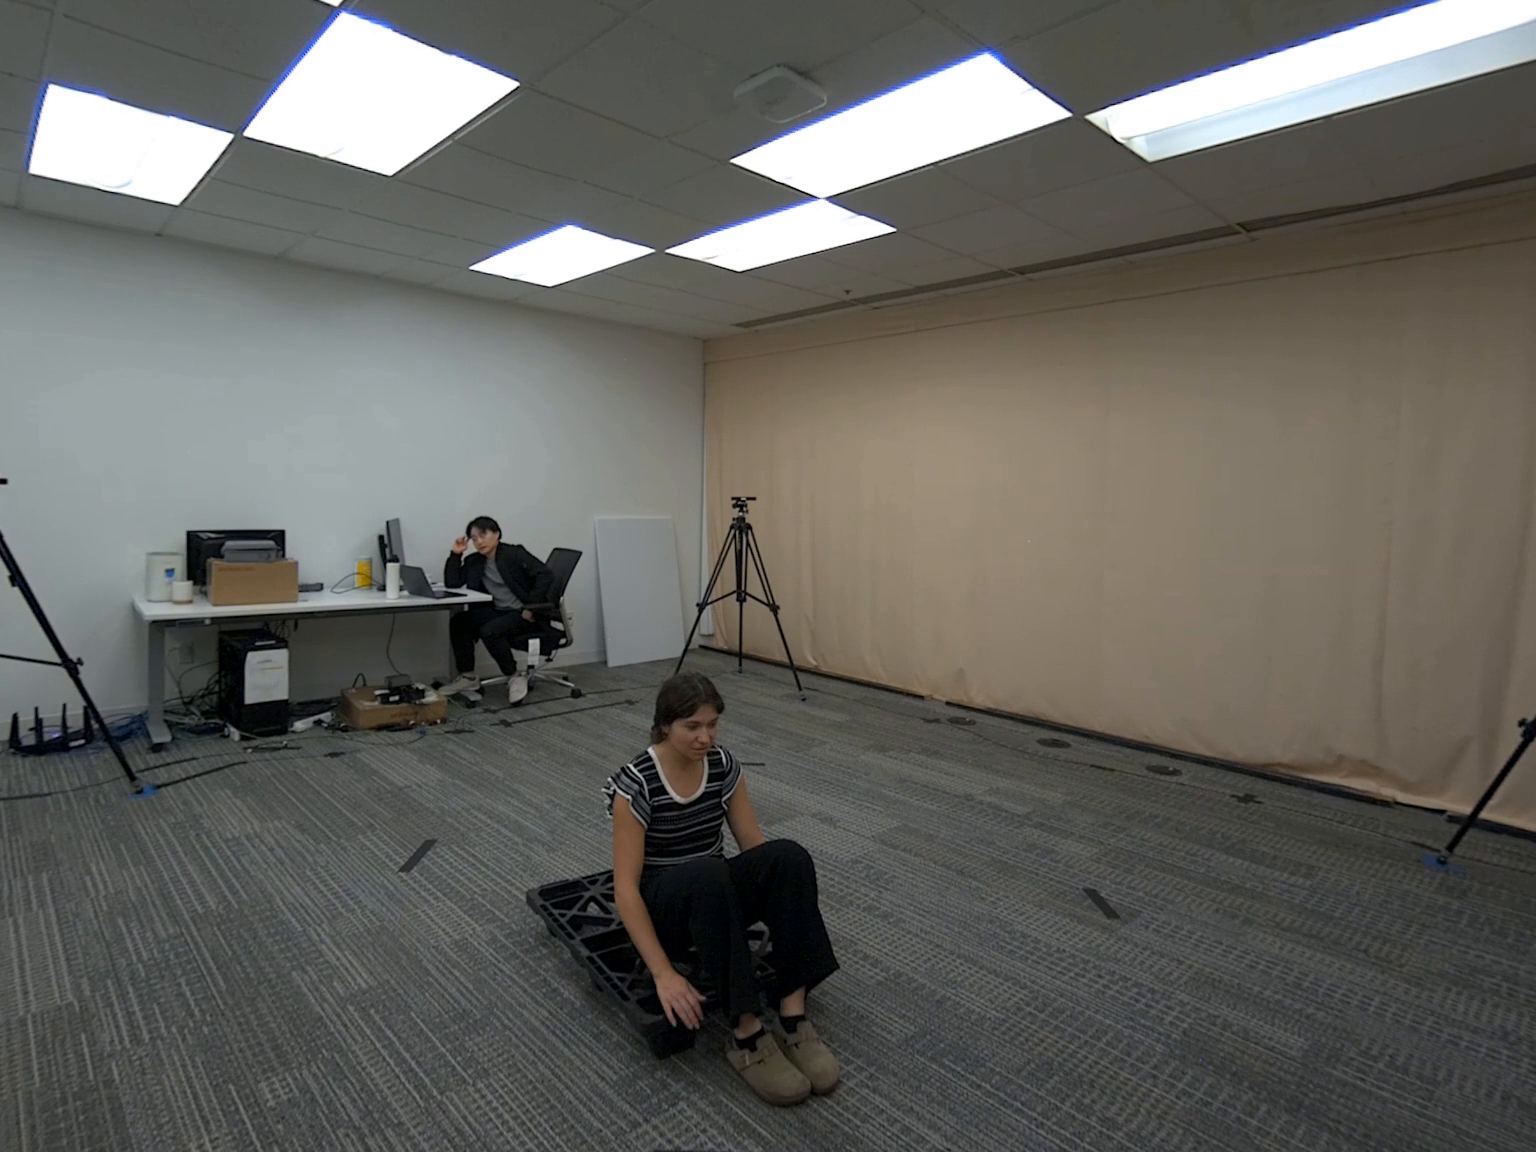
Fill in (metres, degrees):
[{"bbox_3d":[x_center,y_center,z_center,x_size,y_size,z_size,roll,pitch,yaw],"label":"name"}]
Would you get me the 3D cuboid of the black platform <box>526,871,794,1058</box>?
[{"bbox_3d":[-0.306,1.092,2.504,0.592,0.143,0.826,-4,8,-35],"label":"black platform"}]
